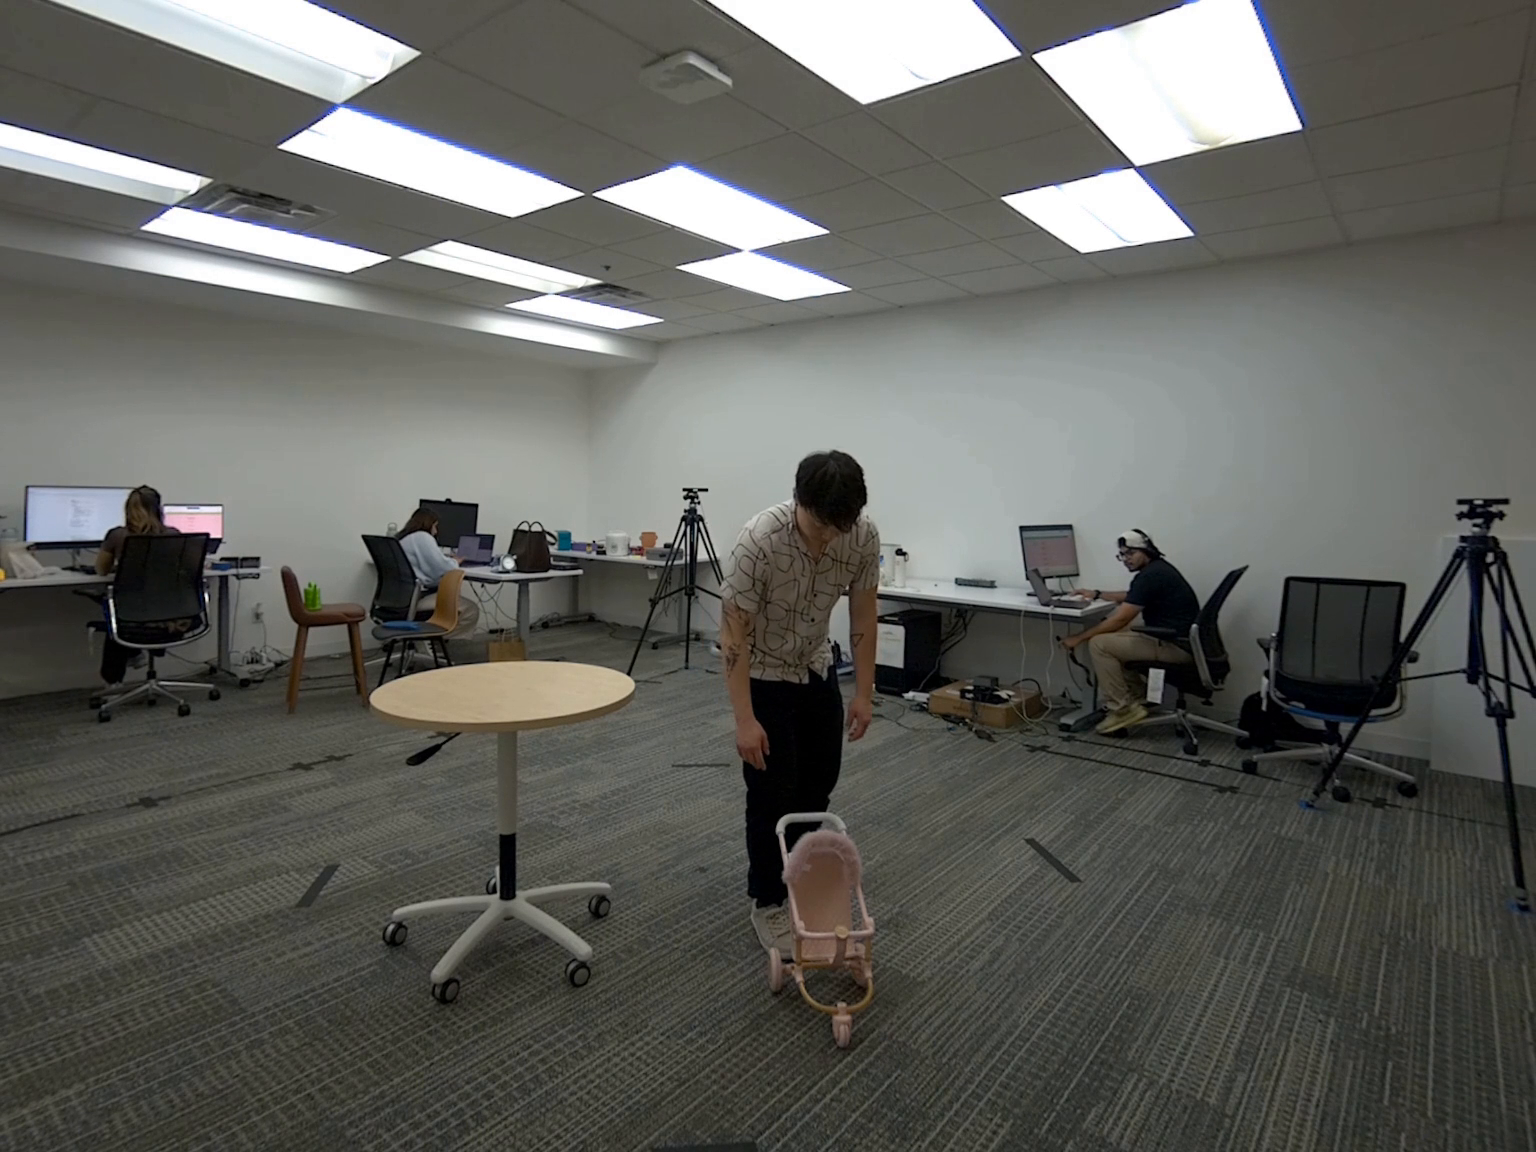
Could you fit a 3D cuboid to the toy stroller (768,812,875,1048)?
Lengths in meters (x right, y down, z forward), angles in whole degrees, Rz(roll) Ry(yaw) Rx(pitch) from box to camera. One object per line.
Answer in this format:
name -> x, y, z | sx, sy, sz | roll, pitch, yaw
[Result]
toy stroller -> 0.154, 0.934, 2.310 | 0.280, 0.541, 0.339 | 1, -12, -6
